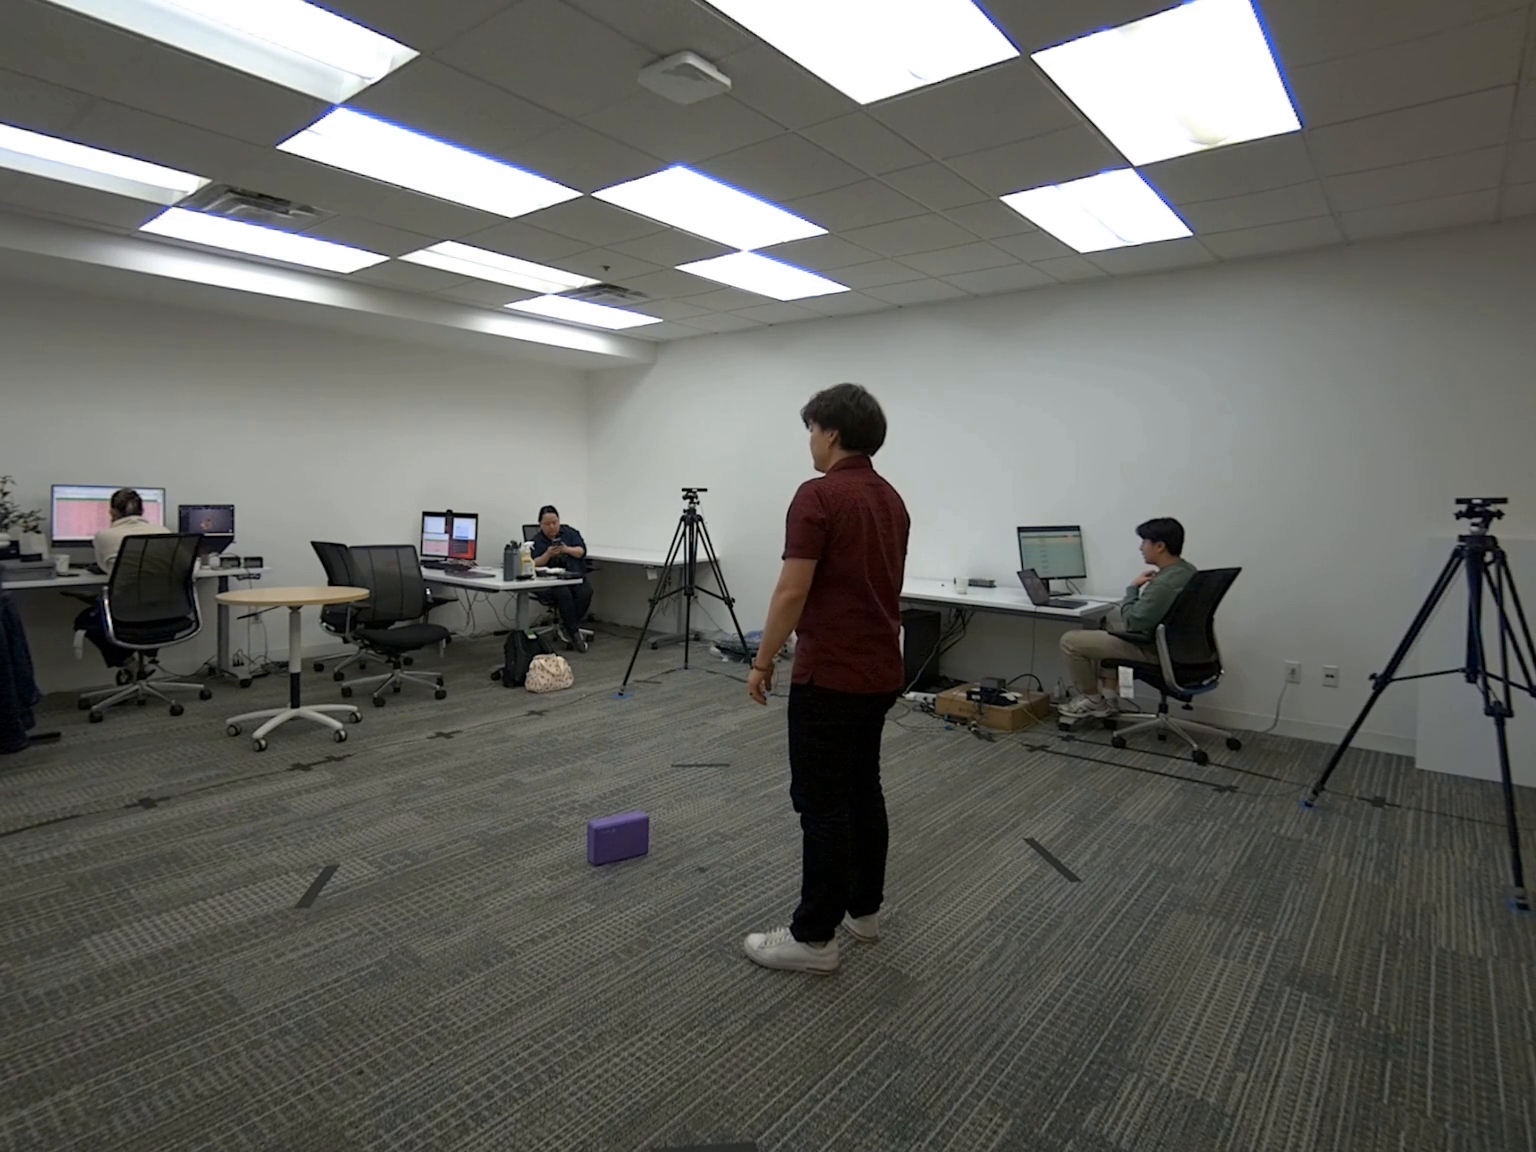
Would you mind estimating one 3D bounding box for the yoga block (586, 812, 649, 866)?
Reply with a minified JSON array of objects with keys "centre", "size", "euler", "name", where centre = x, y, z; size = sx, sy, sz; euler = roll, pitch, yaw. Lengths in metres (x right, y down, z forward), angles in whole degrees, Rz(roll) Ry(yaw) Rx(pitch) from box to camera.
[{"centre":[-0.572,0.979,3.195],"size":[0.223,0.148,0.079],"euler":[-2,4,-34],"name":"yoga block"}]
